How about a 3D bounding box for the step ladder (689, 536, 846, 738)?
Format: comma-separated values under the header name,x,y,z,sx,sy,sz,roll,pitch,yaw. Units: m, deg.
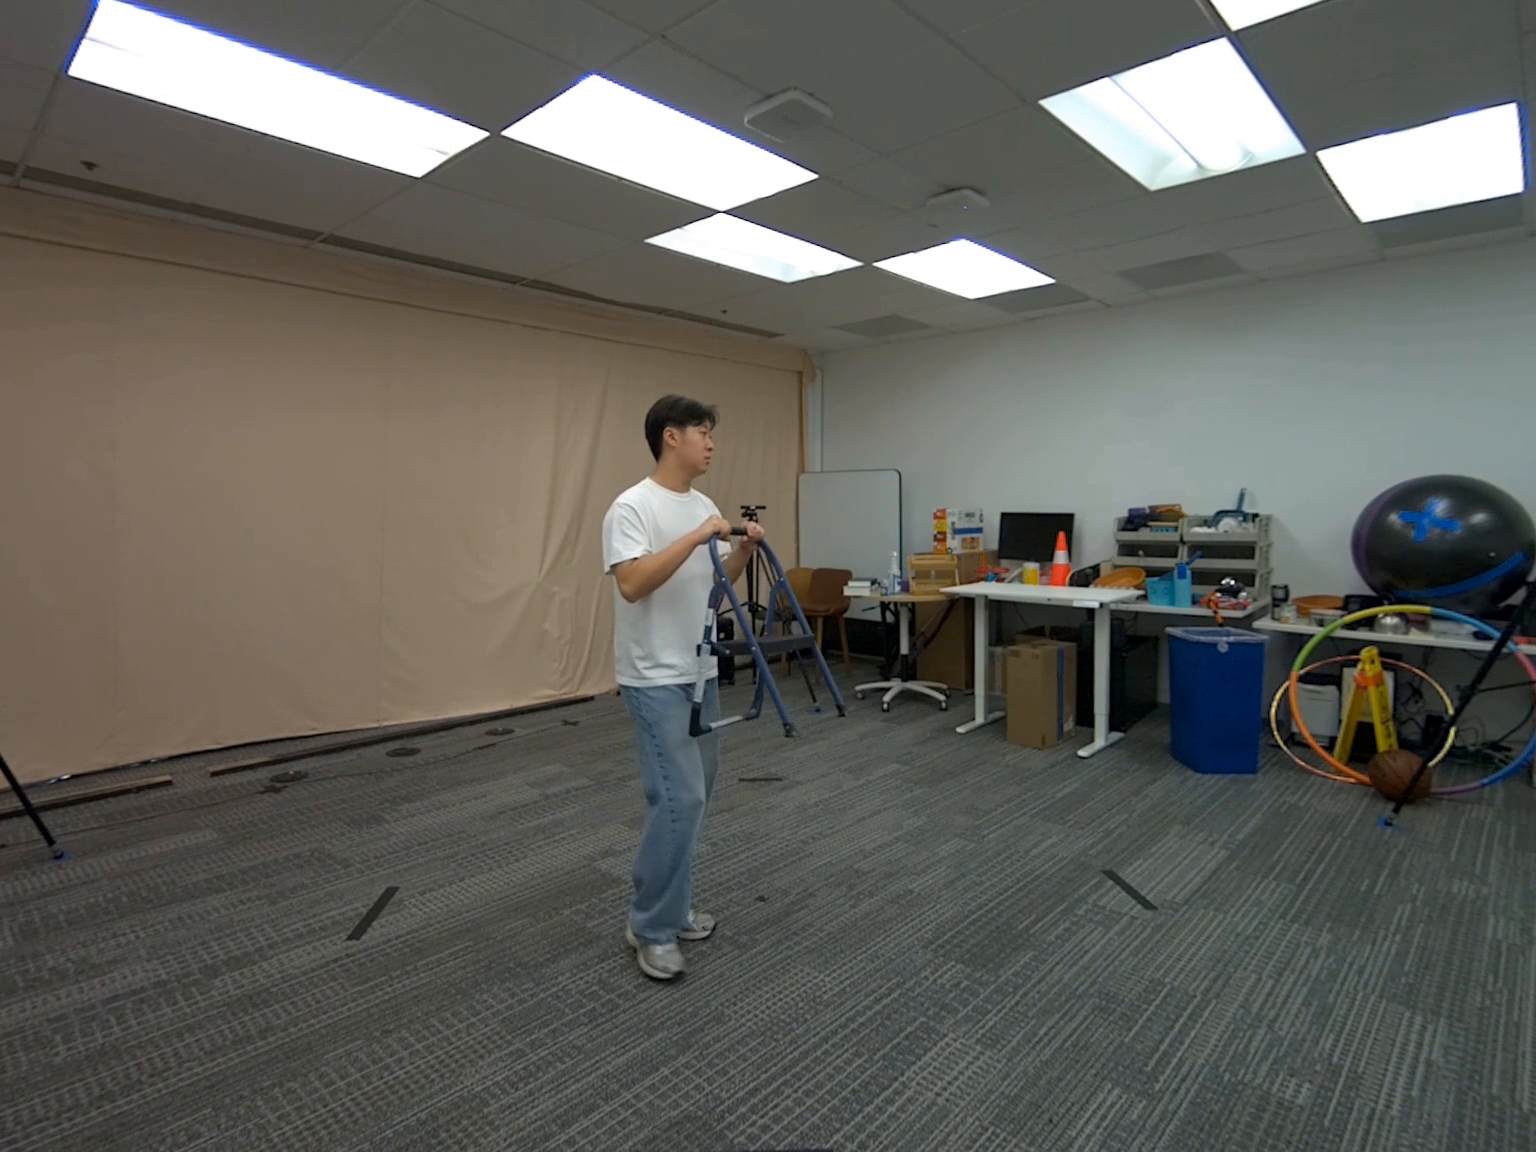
name,x,y,z,sx,sy,sz,roll,pitch,yaw
step ladder,-0.005,0.151,2.539,0.358,0.608,0.419,-6,-4,26
